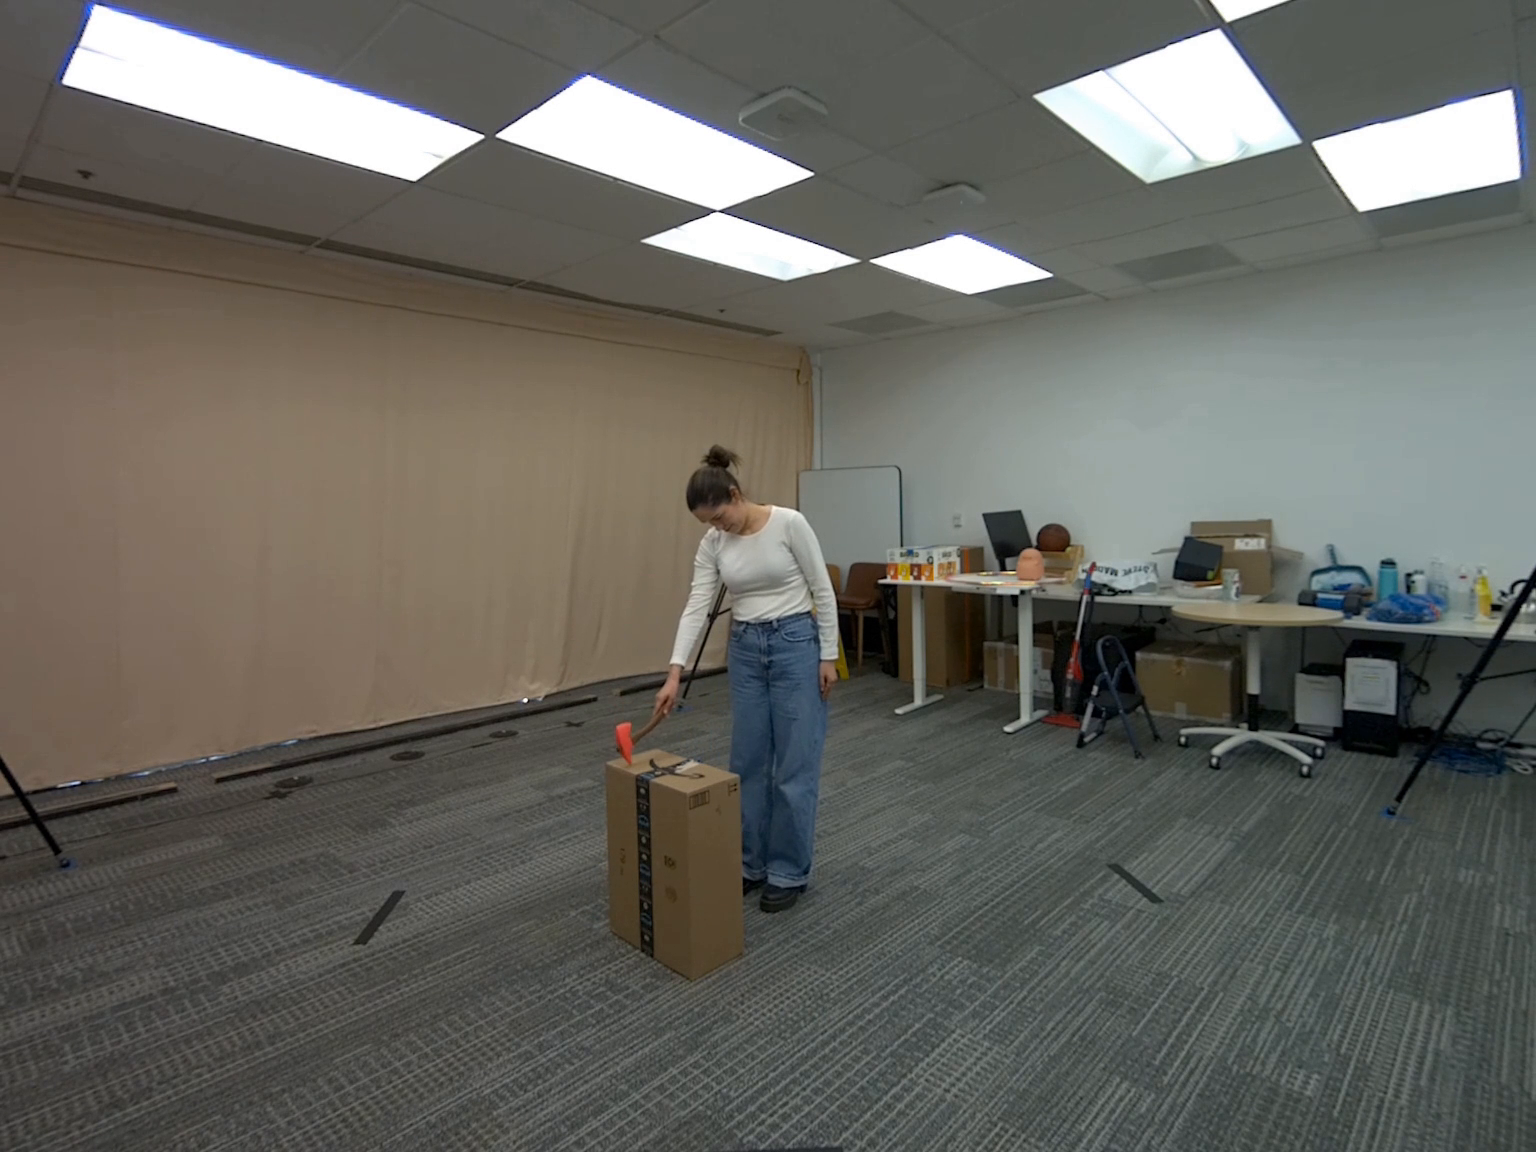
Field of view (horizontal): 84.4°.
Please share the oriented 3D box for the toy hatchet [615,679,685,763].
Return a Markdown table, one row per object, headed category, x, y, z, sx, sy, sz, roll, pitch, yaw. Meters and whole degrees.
| category | x | y | z | sx | sy | sz | roll | pitch | yaw |
| --- | --- | --- | --- | --- | --- | --- | --- | --- | --- |
| toy hatchet | -0.404 | 0.471 | 2.769 | 0.030 | 0.128 | 0.269 | -10 | 33 | 37 |
